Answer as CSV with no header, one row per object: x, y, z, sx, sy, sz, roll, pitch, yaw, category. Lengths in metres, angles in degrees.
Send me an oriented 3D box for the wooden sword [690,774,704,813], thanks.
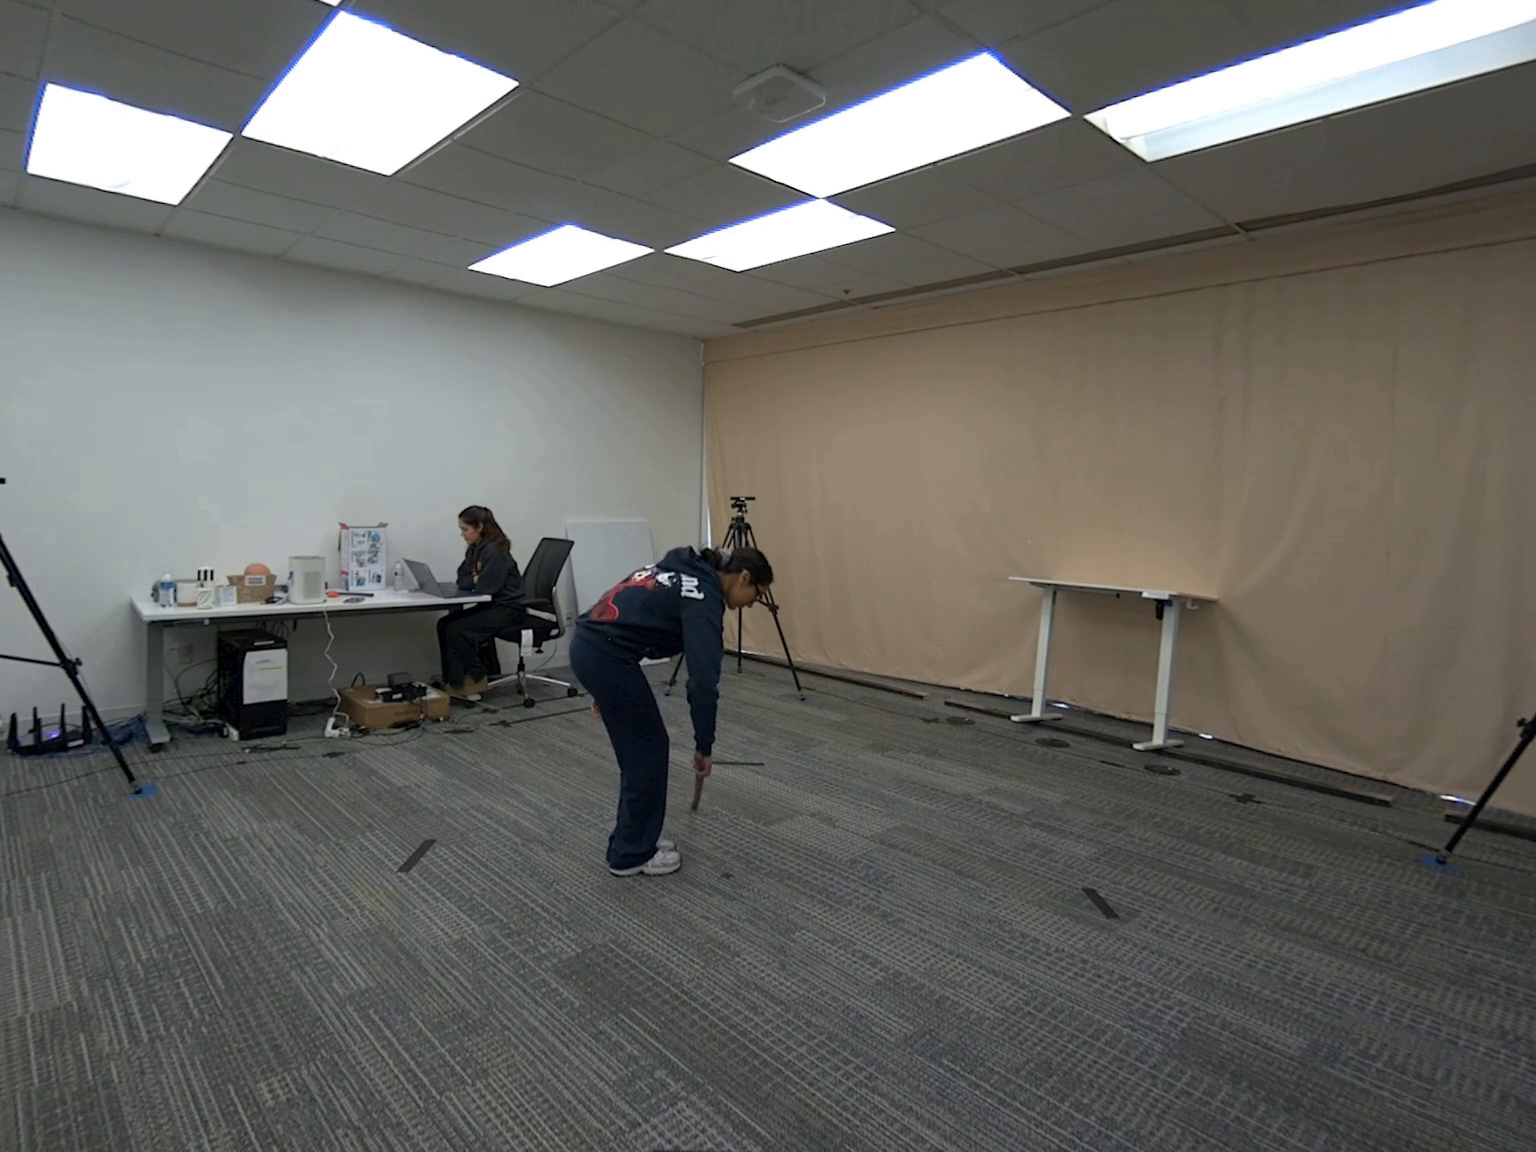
-0.280,0.854,3.348,0.052,0.024,1.012,34,-22,8,wooden sword
